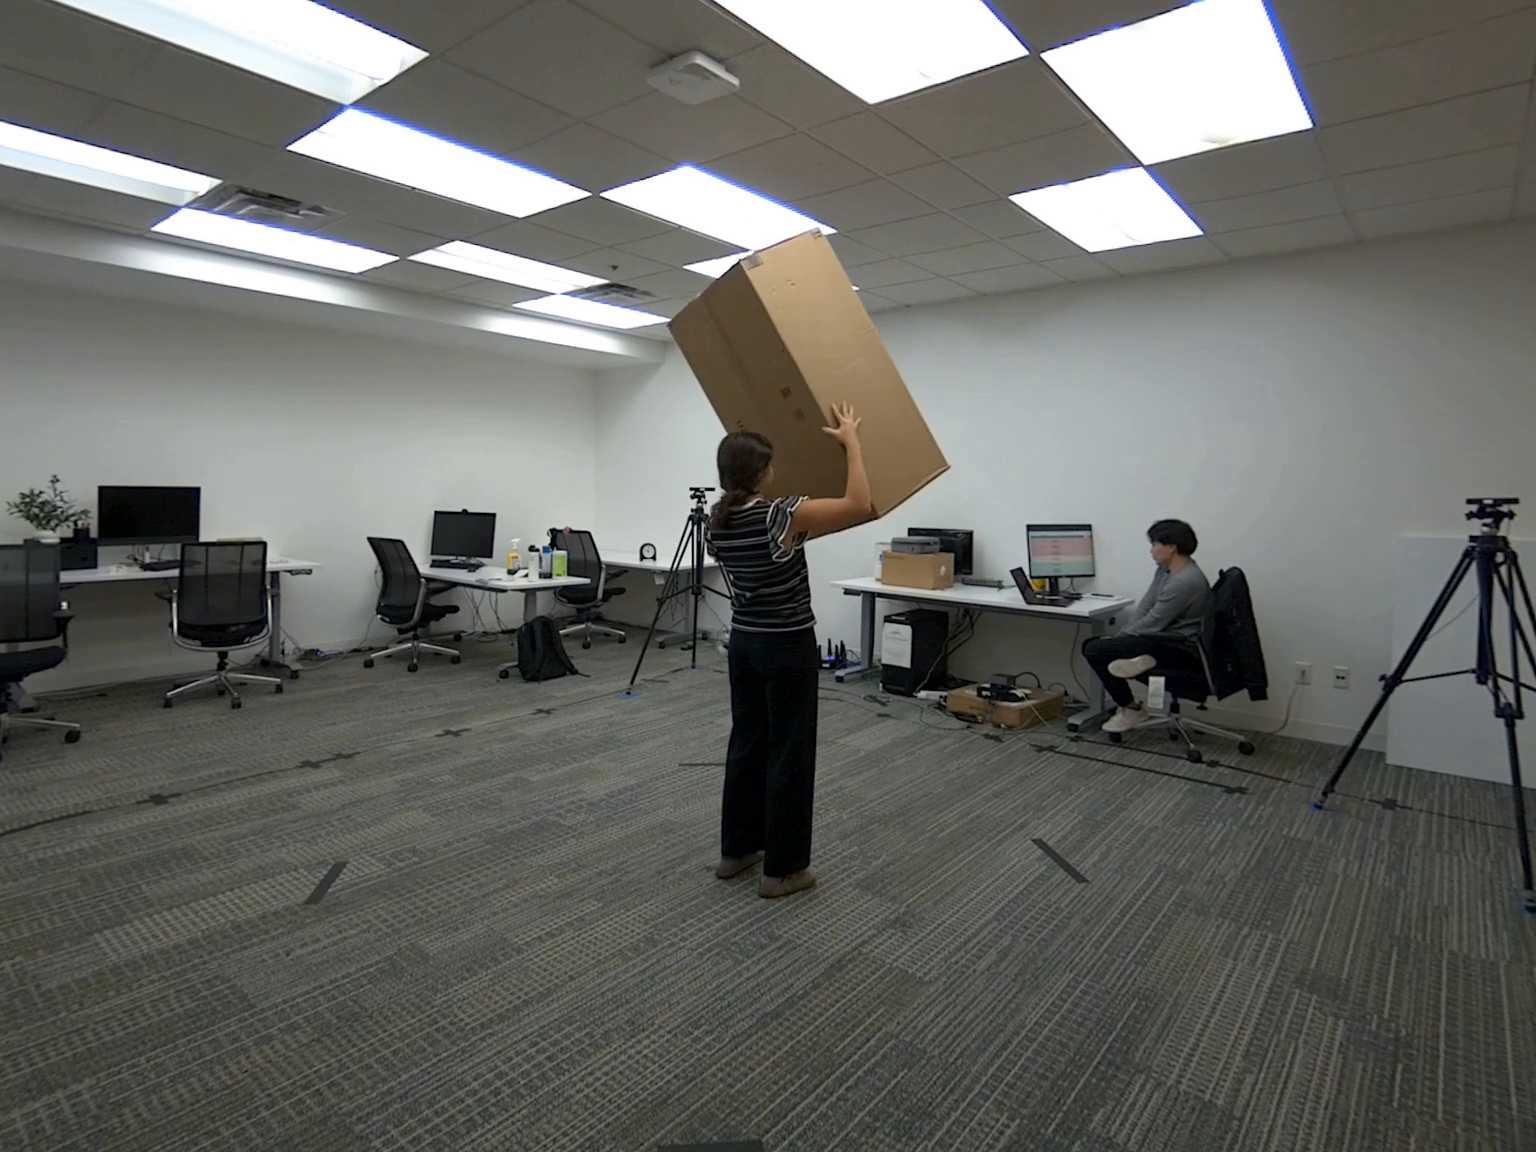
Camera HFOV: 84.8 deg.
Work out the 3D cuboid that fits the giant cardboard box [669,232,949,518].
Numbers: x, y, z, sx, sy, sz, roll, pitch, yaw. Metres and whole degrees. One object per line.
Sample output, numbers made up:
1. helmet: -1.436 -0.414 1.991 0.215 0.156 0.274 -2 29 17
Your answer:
1. giant cardboard box: 0.138 -0.692 3.271 0.422 1.019 0.588 -33 7 -32
